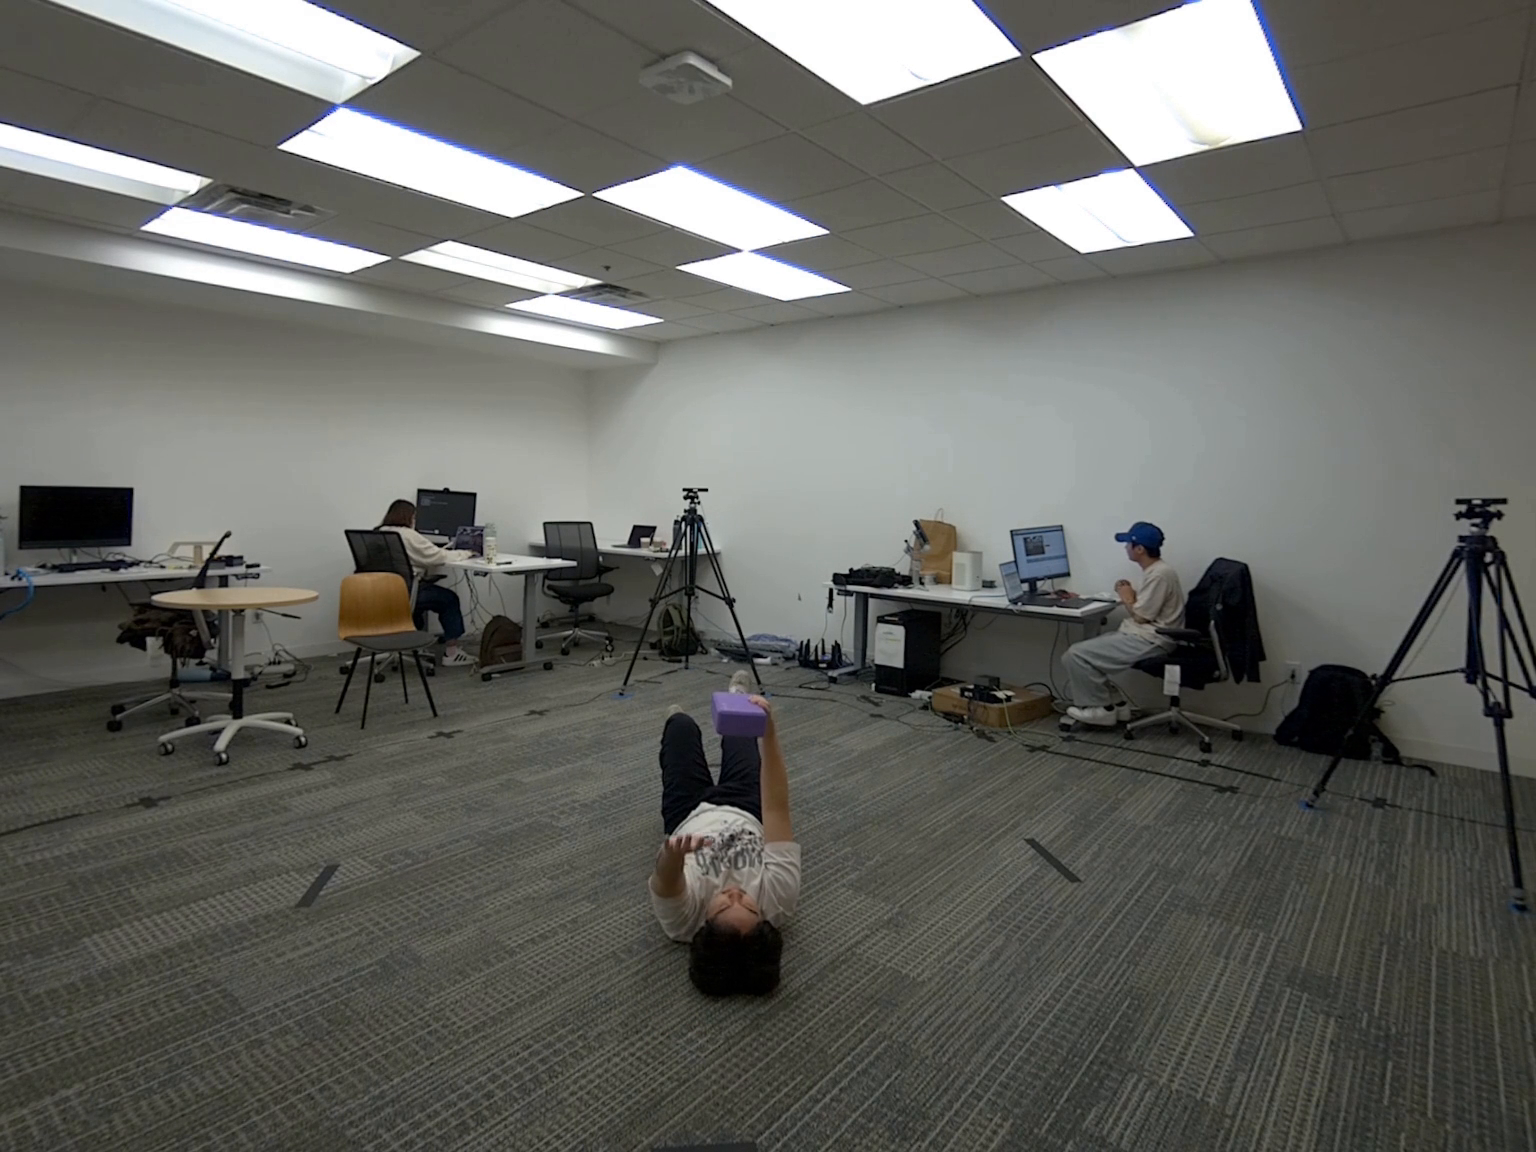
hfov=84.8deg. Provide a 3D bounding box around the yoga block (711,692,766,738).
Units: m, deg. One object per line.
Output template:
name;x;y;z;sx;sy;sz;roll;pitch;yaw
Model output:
yoga block;-0.097;0.427;2.631;0.148;0.076;0.231;5;5;-6
